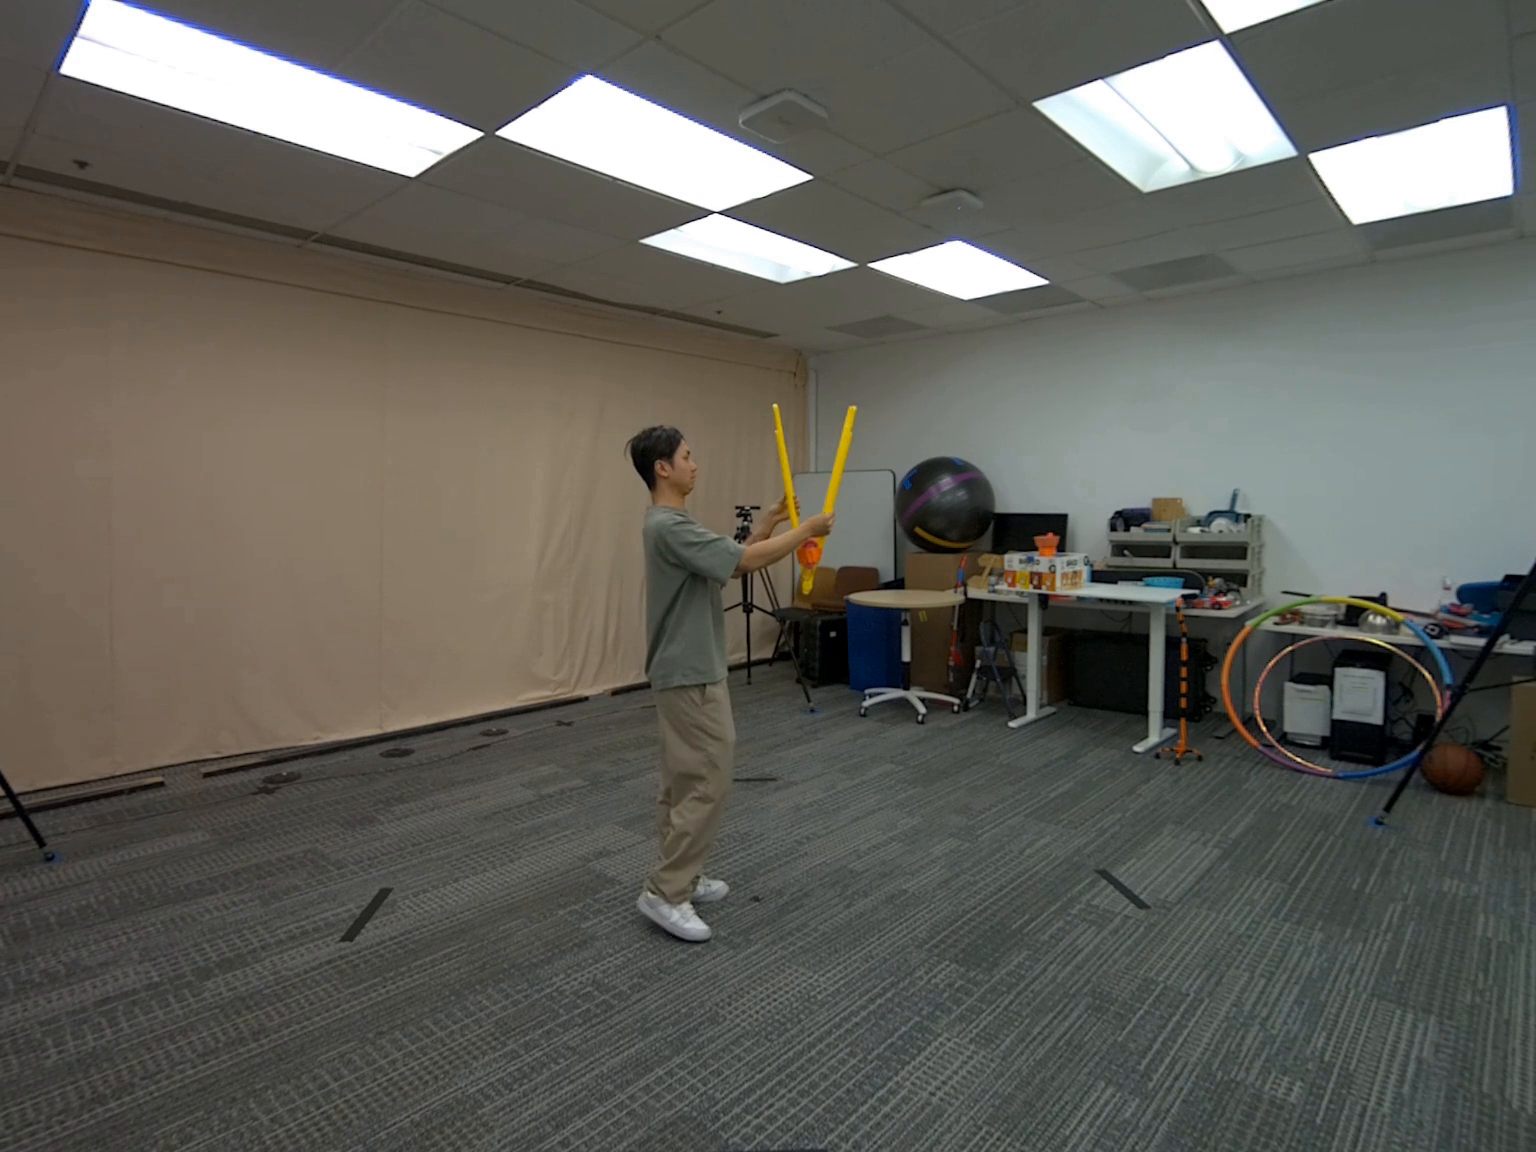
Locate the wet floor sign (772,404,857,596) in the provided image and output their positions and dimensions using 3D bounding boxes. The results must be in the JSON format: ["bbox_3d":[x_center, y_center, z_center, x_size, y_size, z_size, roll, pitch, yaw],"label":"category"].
[{"bbox_3d":[0.156,-0.270,2.956,0.292,0.644,0.281,2,5,5],"label":"wet floor sign"}]
